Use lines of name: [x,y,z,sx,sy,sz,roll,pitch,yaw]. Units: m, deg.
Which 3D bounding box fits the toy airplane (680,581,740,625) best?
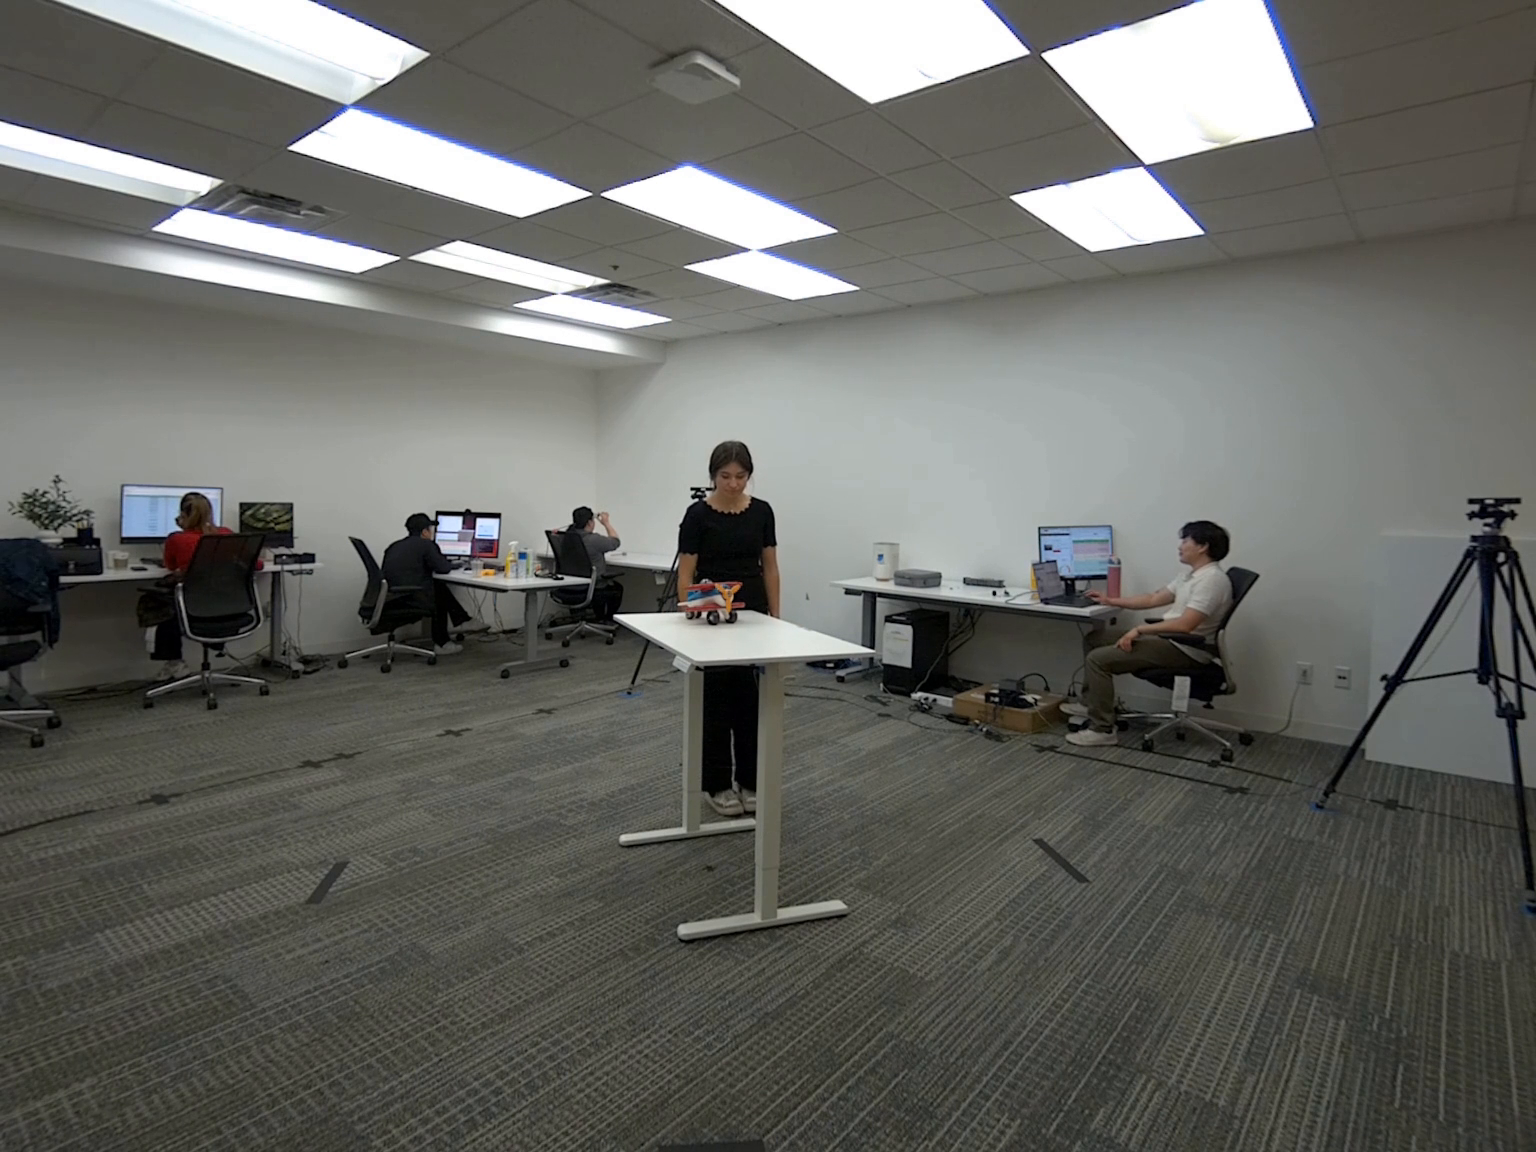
toy airplane: [-0.252,0.094,3.240,0.266,0.156,0.245,4,4,22]
